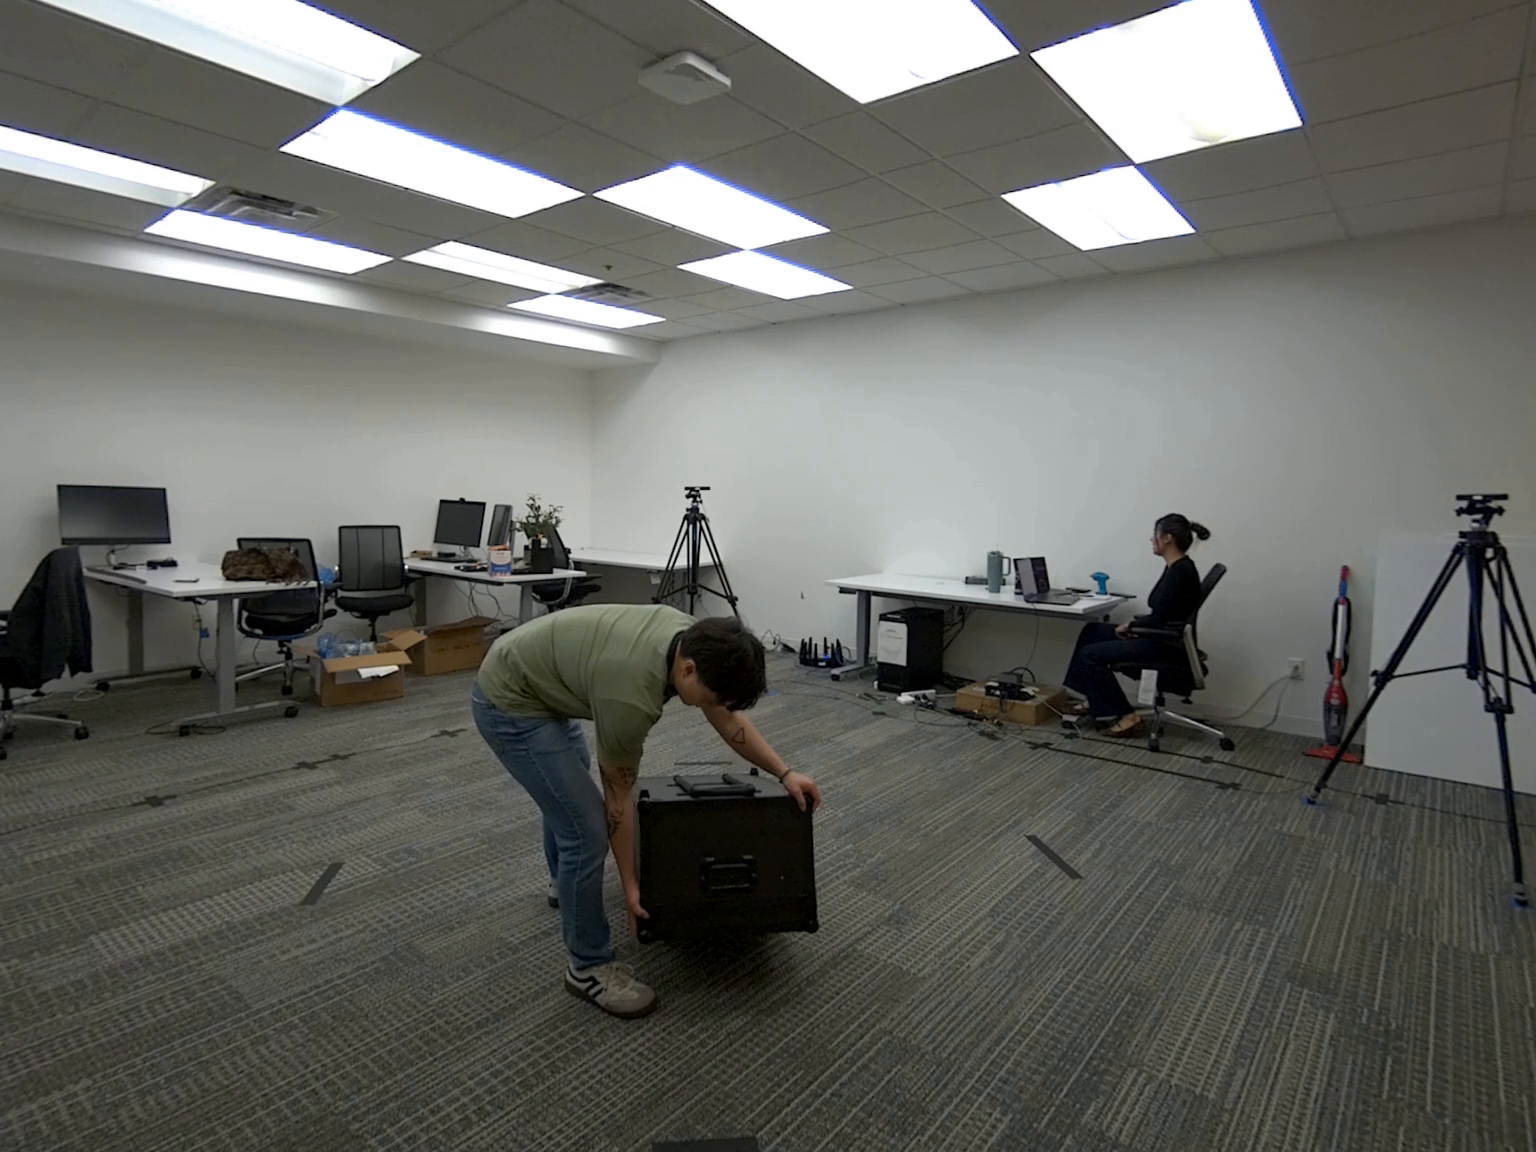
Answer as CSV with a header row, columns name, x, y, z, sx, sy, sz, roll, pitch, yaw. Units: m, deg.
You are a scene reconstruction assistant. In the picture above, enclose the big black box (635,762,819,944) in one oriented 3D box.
name,x,y,z,sx,sy,sz,roll,pitch,yaw
big black box,-0.206,0.830,2.707,0.516,0.400,0.861,0,-9,-10
